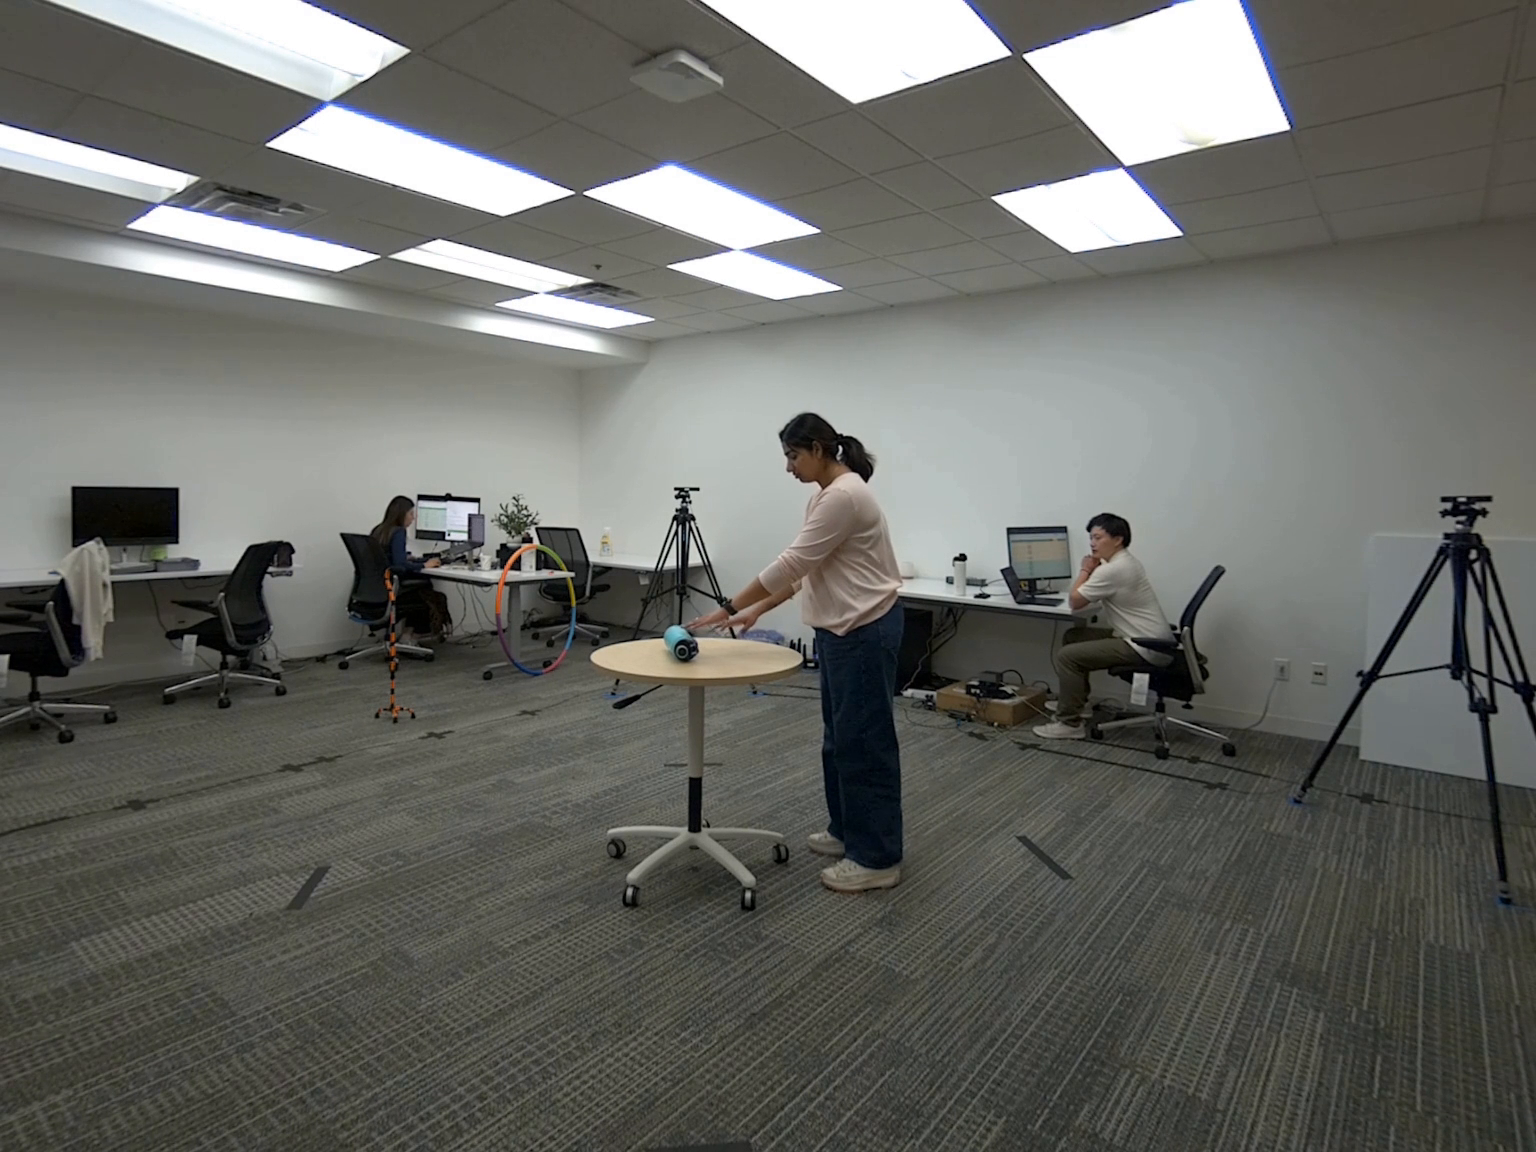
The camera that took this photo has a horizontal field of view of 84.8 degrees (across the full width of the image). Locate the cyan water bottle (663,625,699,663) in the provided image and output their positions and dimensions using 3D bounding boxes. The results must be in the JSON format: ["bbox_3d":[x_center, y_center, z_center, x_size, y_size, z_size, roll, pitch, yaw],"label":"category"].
[{"bbox_3d":[-0.323,0.240,3.059,0.091,0.092,0.288,0,5,-14],"label":"cyan water bottle"}]
